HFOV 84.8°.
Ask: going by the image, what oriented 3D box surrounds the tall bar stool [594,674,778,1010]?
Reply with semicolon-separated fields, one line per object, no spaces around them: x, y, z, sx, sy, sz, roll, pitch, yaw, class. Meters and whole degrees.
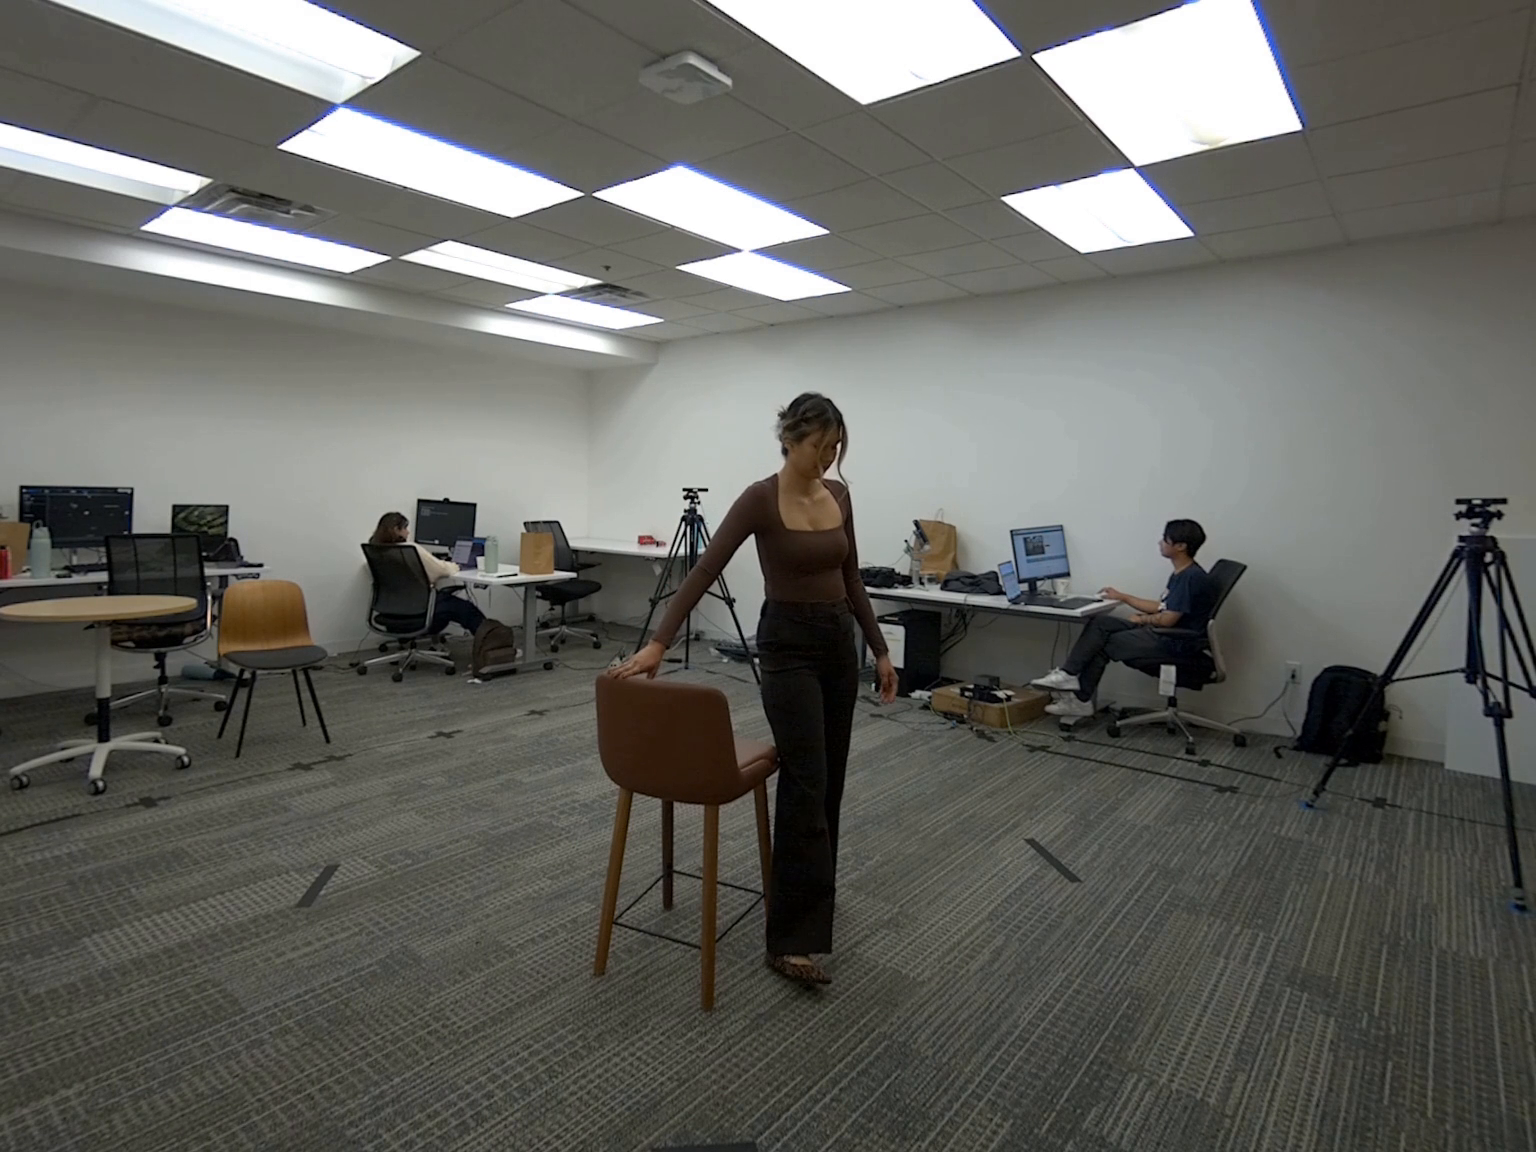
-0.245;0.691;2.515;0.468;0.886;0.457;3;5;25;tall bar stool
